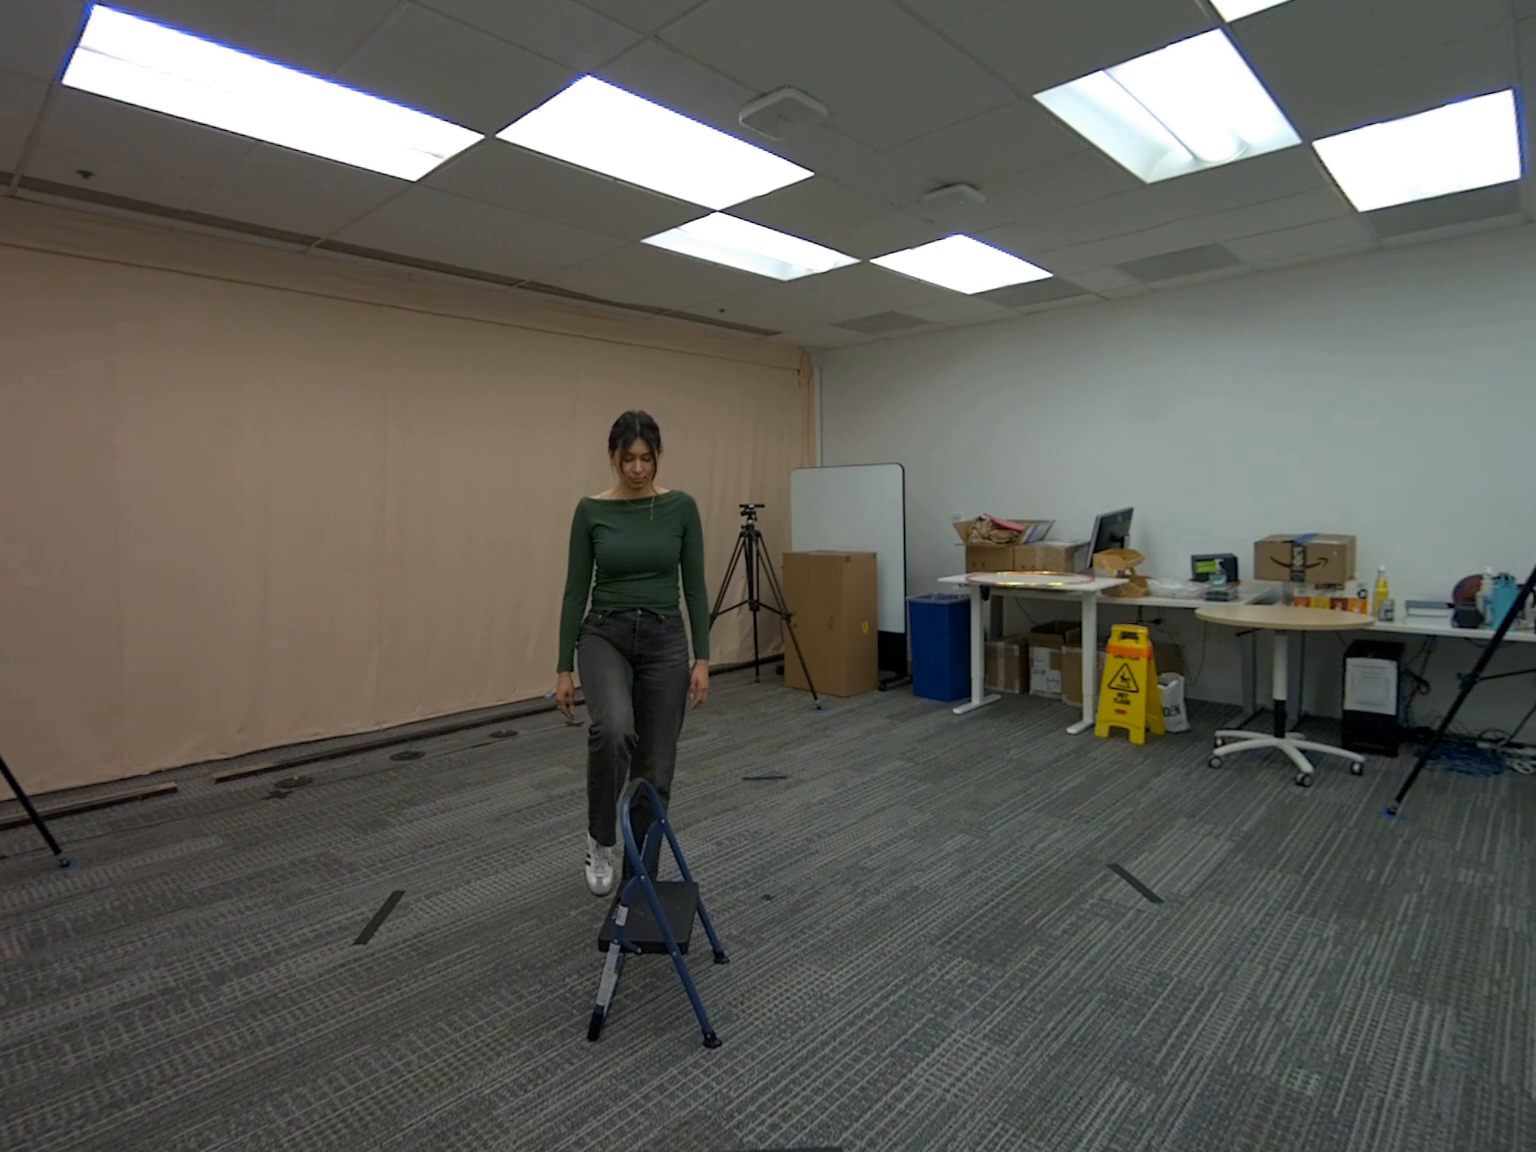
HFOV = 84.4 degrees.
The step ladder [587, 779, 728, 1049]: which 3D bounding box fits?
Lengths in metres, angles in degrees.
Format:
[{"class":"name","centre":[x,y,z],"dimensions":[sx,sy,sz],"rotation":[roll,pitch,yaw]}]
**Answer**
[{"class":"step ladder","centre":[-0.298,0.898,2.368],"dimensions":[0.350,0.605,0.430],"rotation":[0,3,1]}]
